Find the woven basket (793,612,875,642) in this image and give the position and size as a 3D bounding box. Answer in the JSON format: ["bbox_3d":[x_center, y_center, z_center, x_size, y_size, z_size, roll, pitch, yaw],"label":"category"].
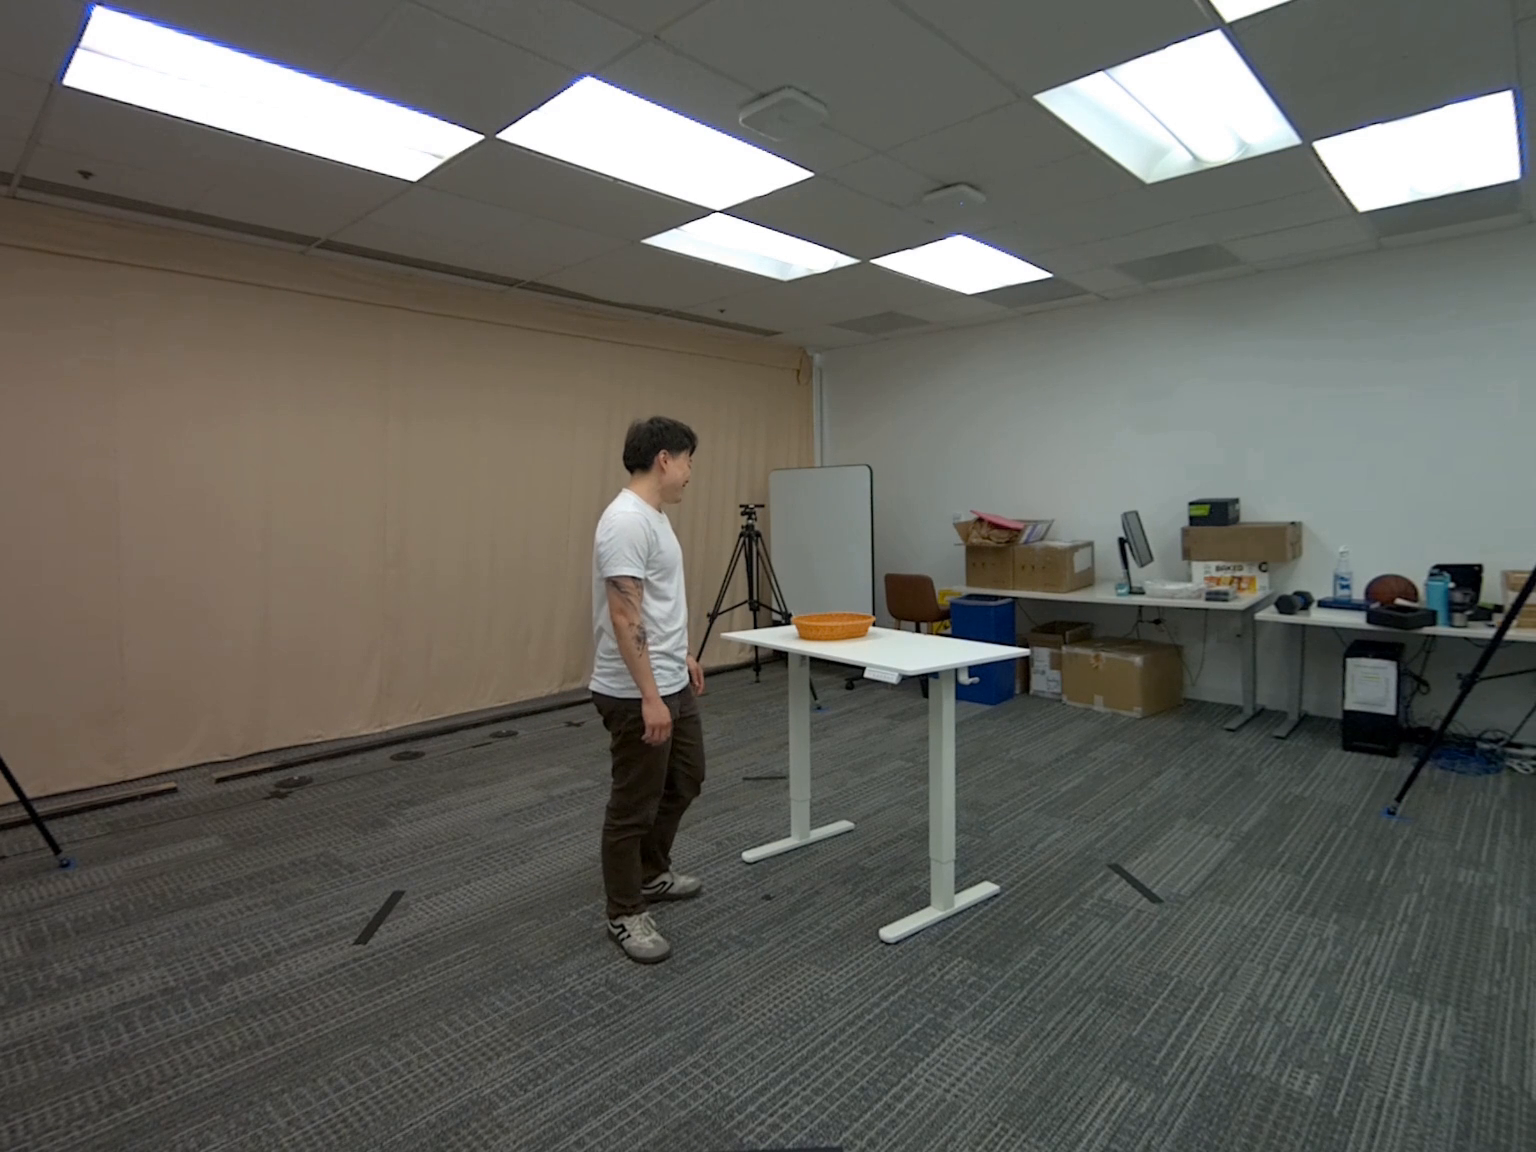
[{"bbox_3d":[0.267,0.203,3.235,0.340,0.073,0.260,-4,6,-33],"label":"woven basket"}]
